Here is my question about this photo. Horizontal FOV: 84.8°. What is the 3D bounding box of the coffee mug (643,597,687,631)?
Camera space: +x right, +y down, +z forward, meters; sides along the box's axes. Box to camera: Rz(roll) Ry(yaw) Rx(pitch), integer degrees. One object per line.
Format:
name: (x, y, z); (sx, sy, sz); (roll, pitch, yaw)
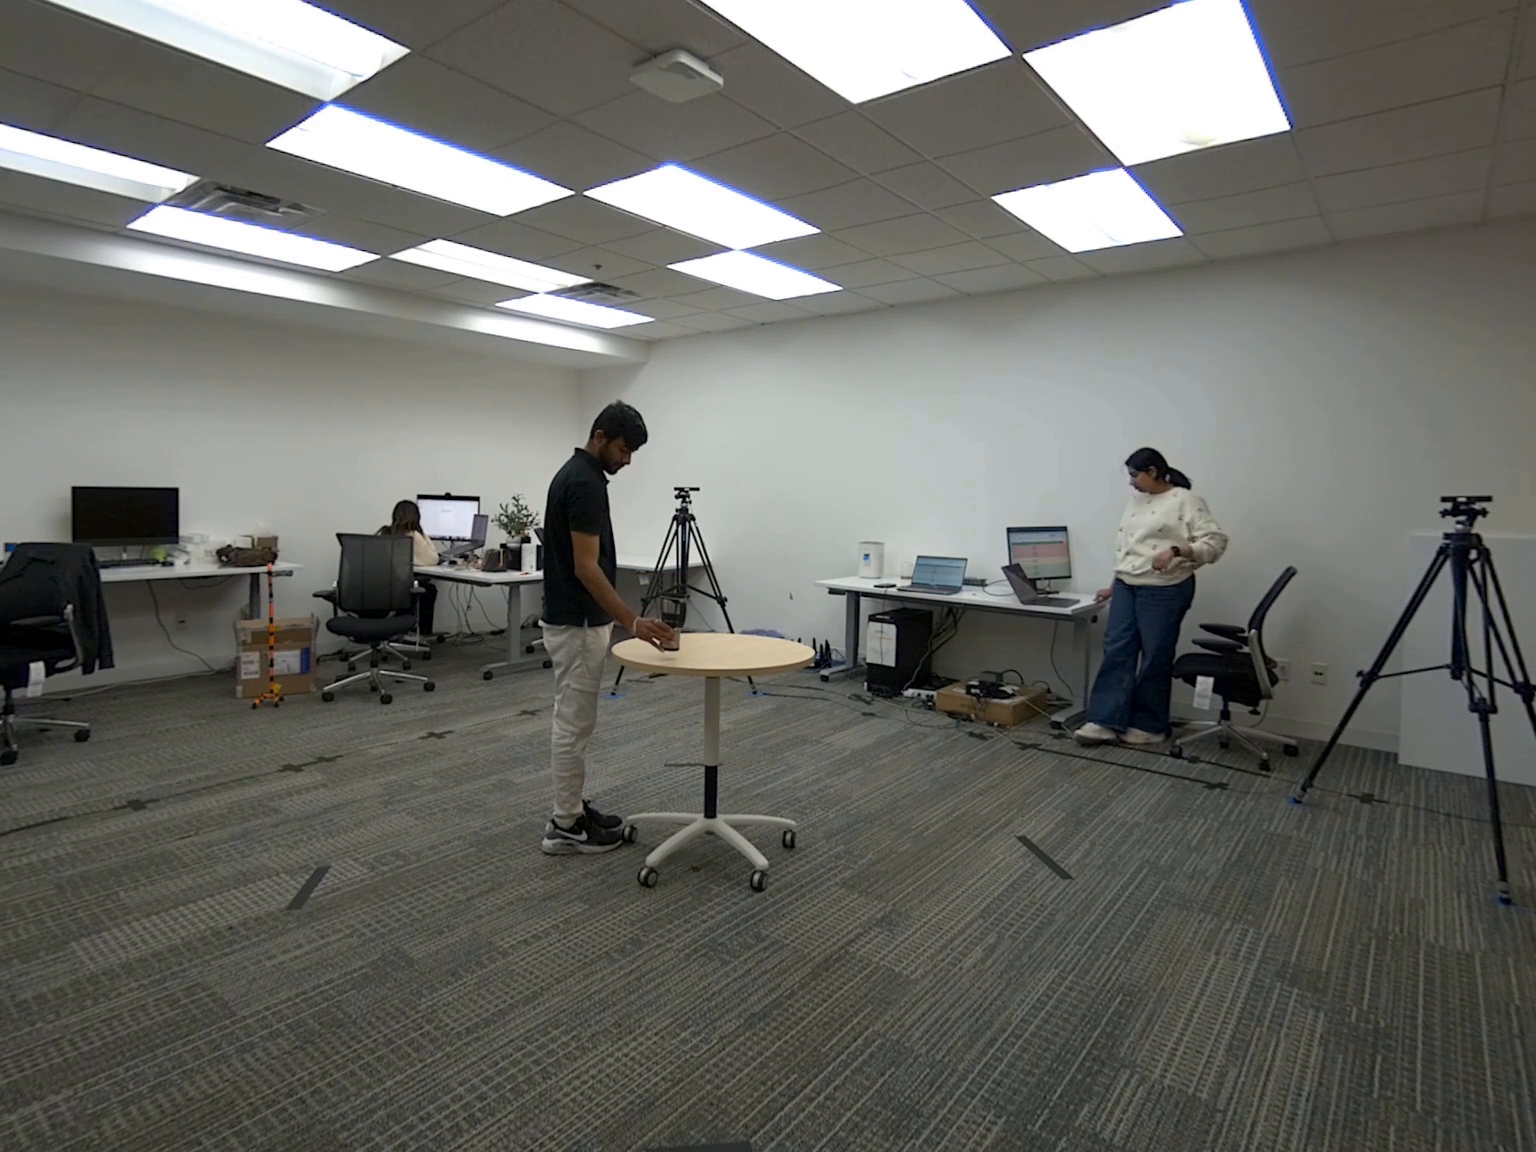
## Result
coffee mug: (-0.347, 0.158, 2.967); (0.086, 0.203, 0.124); (6, -3, -19)
